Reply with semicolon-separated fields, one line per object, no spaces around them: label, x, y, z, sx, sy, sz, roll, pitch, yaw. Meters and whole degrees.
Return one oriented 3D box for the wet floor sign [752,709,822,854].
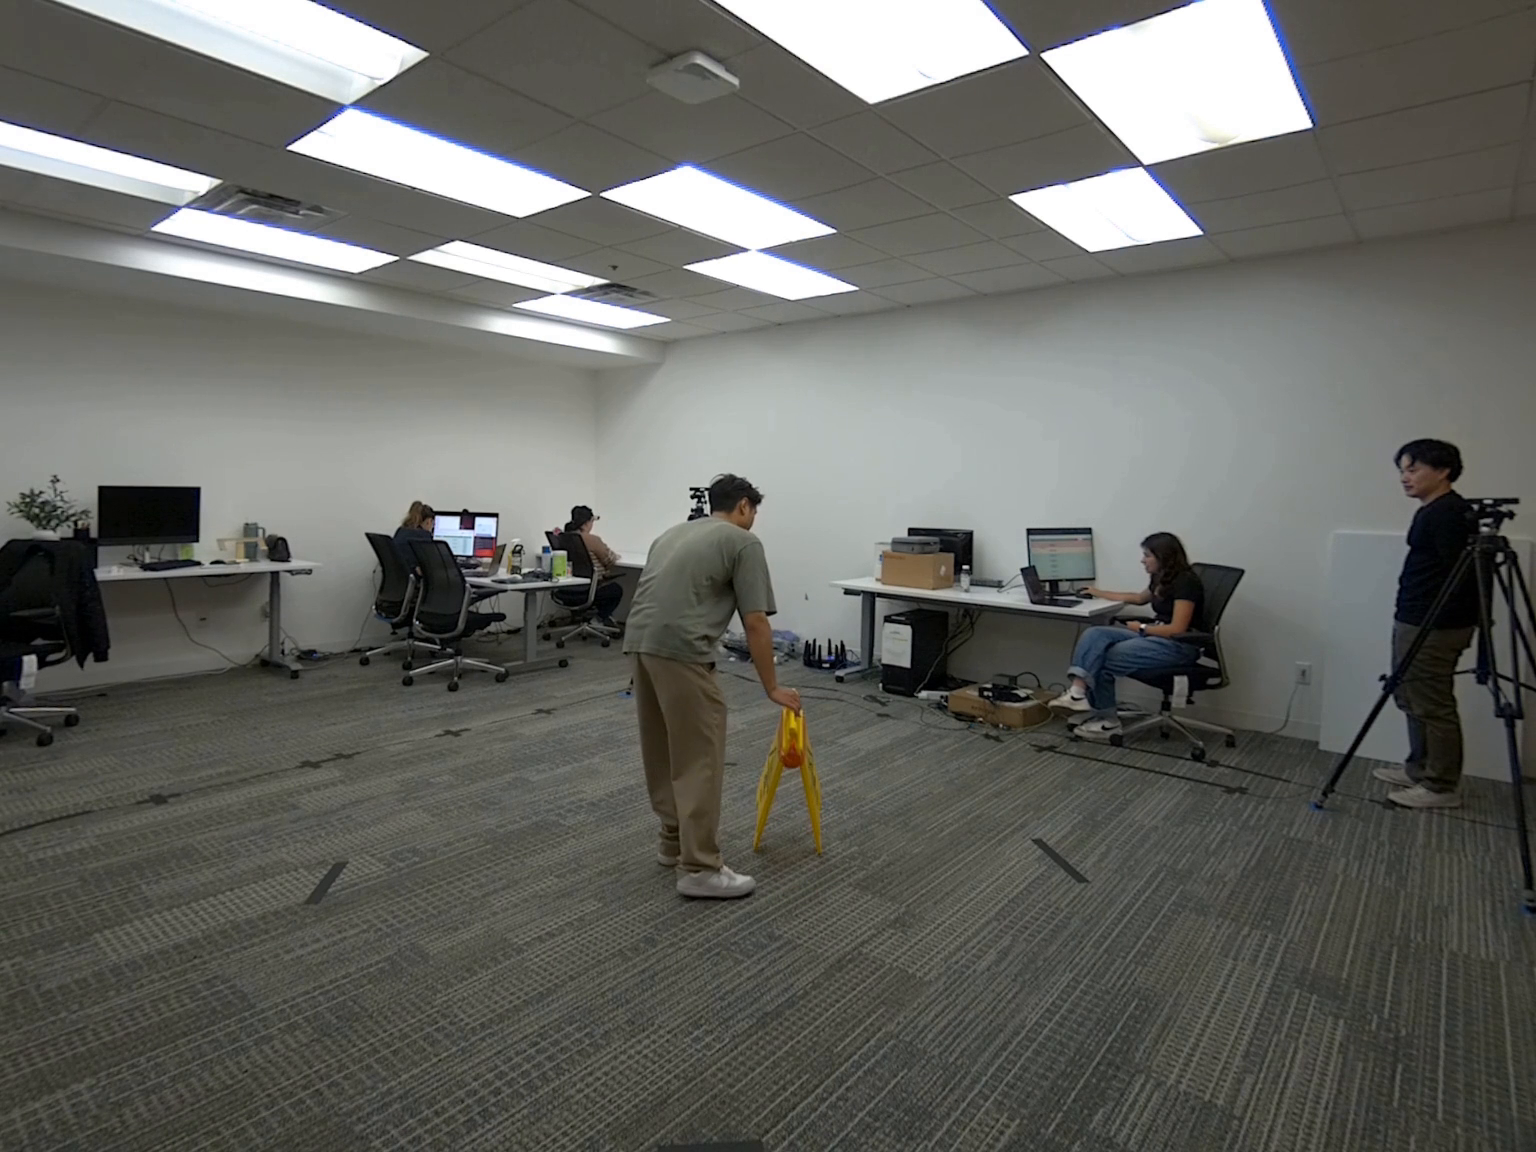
wet floor sign;0.074;0.728;3.201;0.291;0.629;0.289;2;34;2
